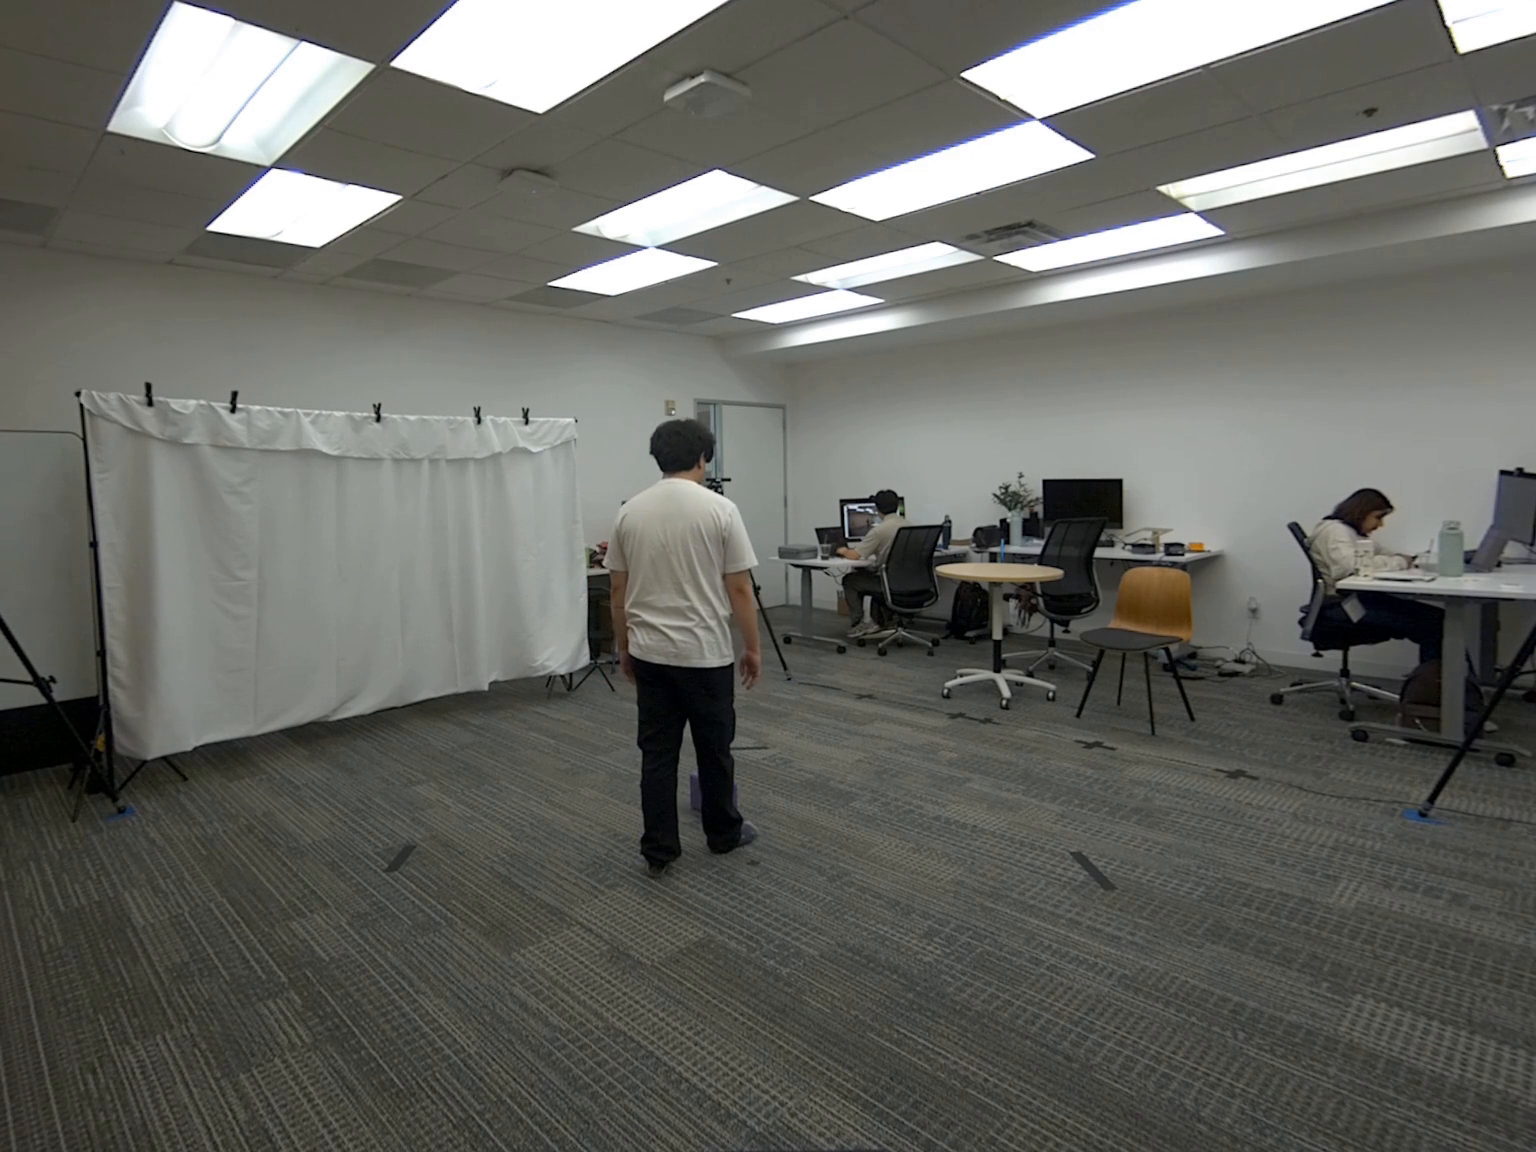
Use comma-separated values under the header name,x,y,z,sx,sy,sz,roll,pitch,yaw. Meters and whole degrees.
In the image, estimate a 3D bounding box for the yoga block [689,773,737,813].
name,x,y,z,sx,sy,sz,roll,pitch,yaw
yoga block,-0.222,0.917,3.579,0.074,0.148,0.236,-5,6,-42
